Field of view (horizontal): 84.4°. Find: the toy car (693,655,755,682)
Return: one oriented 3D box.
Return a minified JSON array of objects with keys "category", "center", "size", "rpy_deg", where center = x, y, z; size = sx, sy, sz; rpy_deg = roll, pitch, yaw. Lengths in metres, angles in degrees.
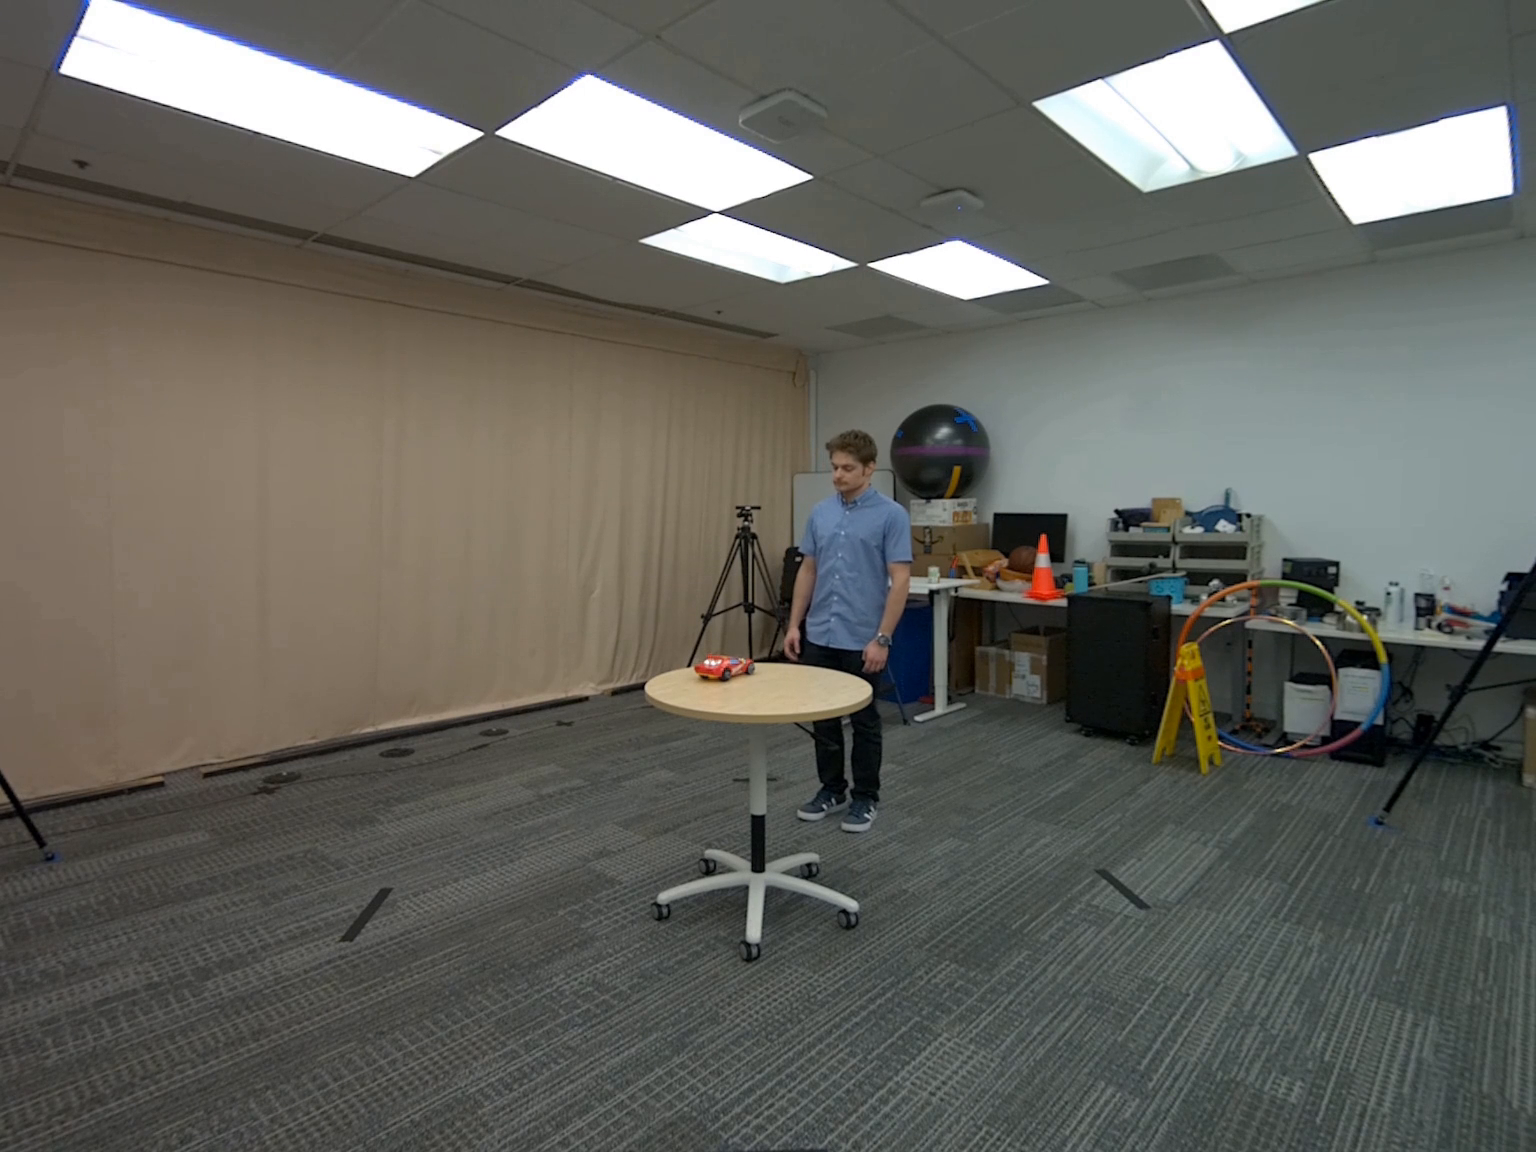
[{"category":"toy car","center":[-0.156,0.327,2.986],"size":[0.134,0.083,0.246],"rpy_deg":[4,-5,36]}]
